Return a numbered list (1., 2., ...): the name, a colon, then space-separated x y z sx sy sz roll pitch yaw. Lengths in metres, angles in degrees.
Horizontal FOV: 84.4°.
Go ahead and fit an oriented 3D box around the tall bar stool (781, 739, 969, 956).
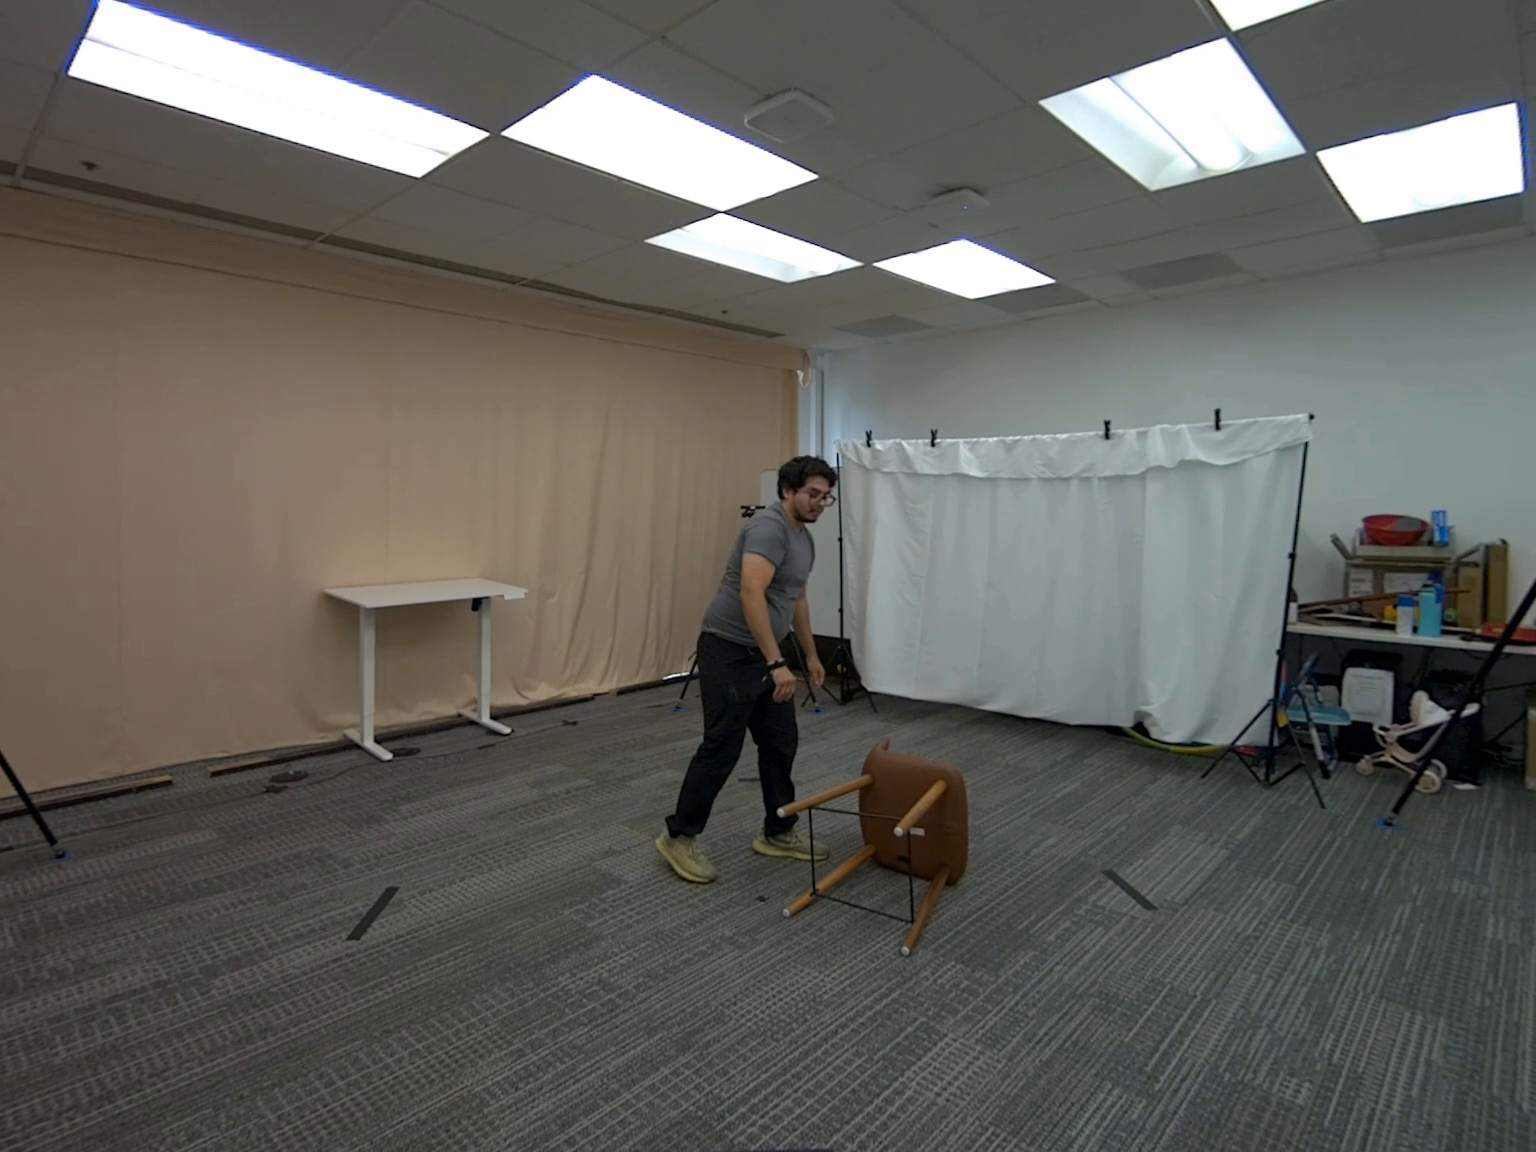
1. tall bar stool: 0.456 0.920 3.069 0.481 0.455 0.867 -1 6 31
